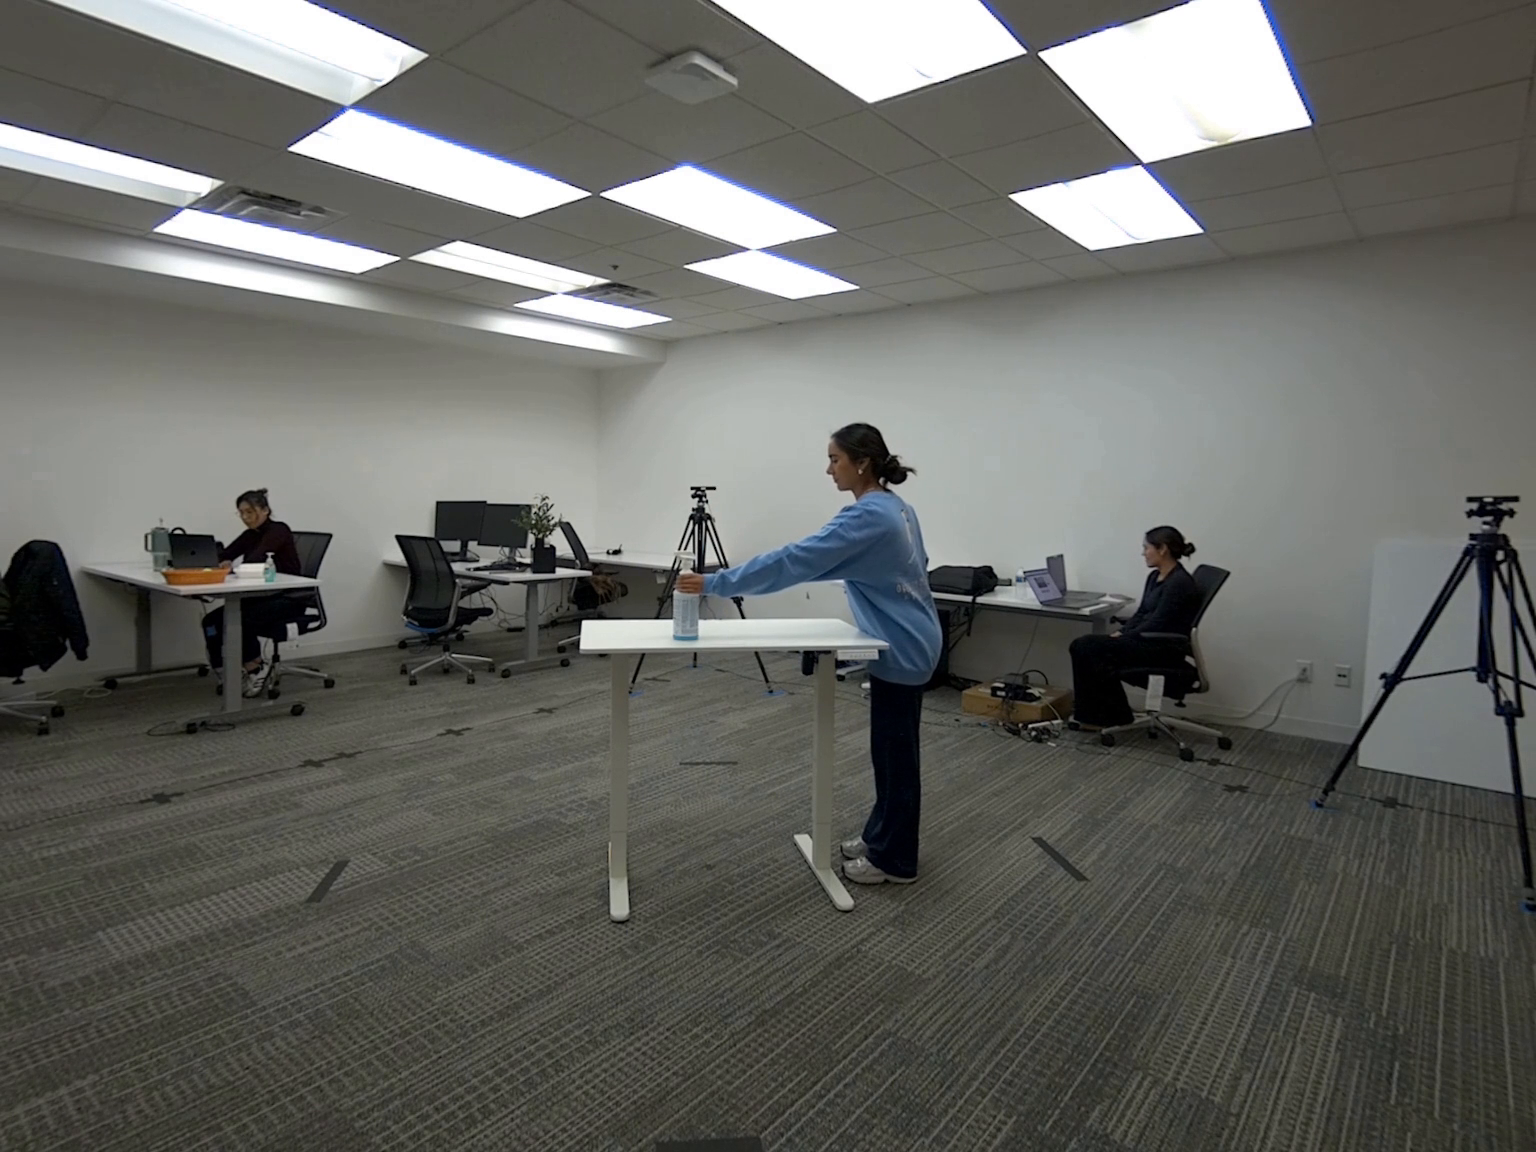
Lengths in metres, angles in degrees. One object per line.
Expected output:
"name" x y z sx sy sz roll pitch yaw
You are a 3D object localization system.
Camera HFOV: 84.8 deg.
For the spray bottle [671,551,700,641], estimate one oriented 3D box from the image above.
"spray bottle" -0.284 0.063 2.845 0.088 0.297 0.089 -1 2 -19
